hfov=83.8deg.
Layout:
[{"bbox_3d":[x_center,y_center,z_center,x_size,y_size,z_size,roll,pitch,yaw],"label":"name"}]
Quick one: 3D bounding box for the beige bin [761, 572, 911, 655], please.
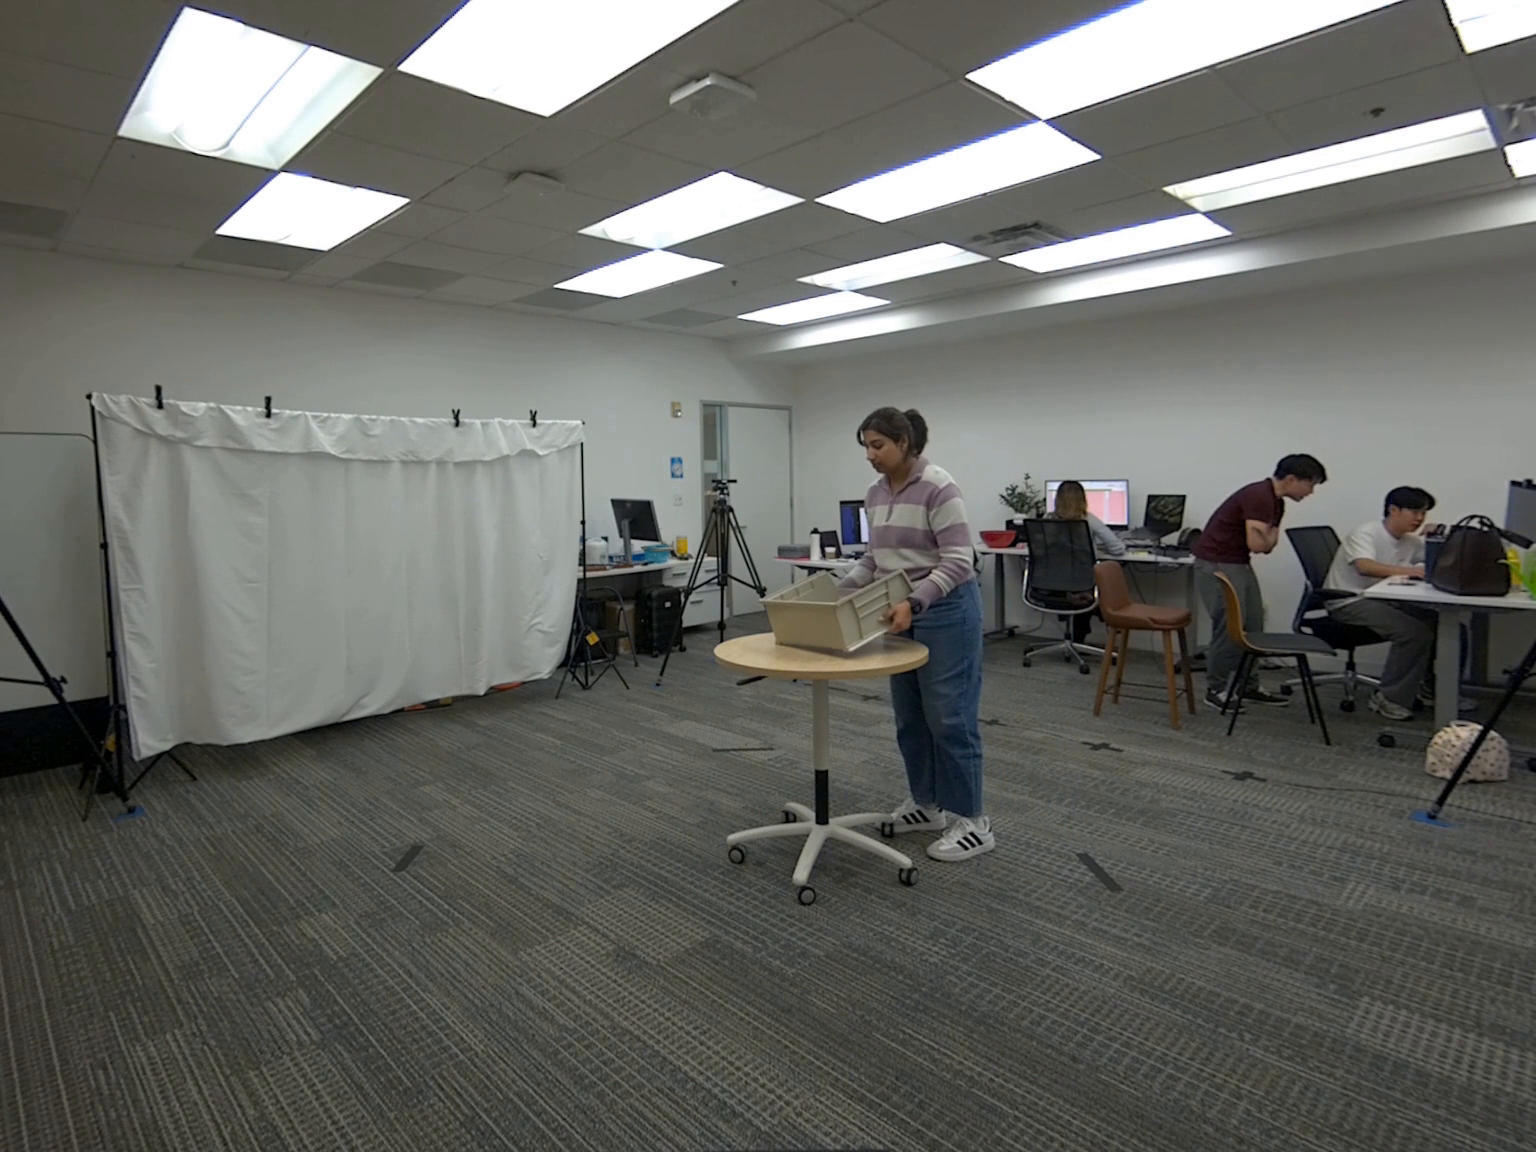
[{"bbox_3d":[0.257,0.117,3.095,0.372,0.186,0.434,-25,15,-35],"label":"beige bin"}]
